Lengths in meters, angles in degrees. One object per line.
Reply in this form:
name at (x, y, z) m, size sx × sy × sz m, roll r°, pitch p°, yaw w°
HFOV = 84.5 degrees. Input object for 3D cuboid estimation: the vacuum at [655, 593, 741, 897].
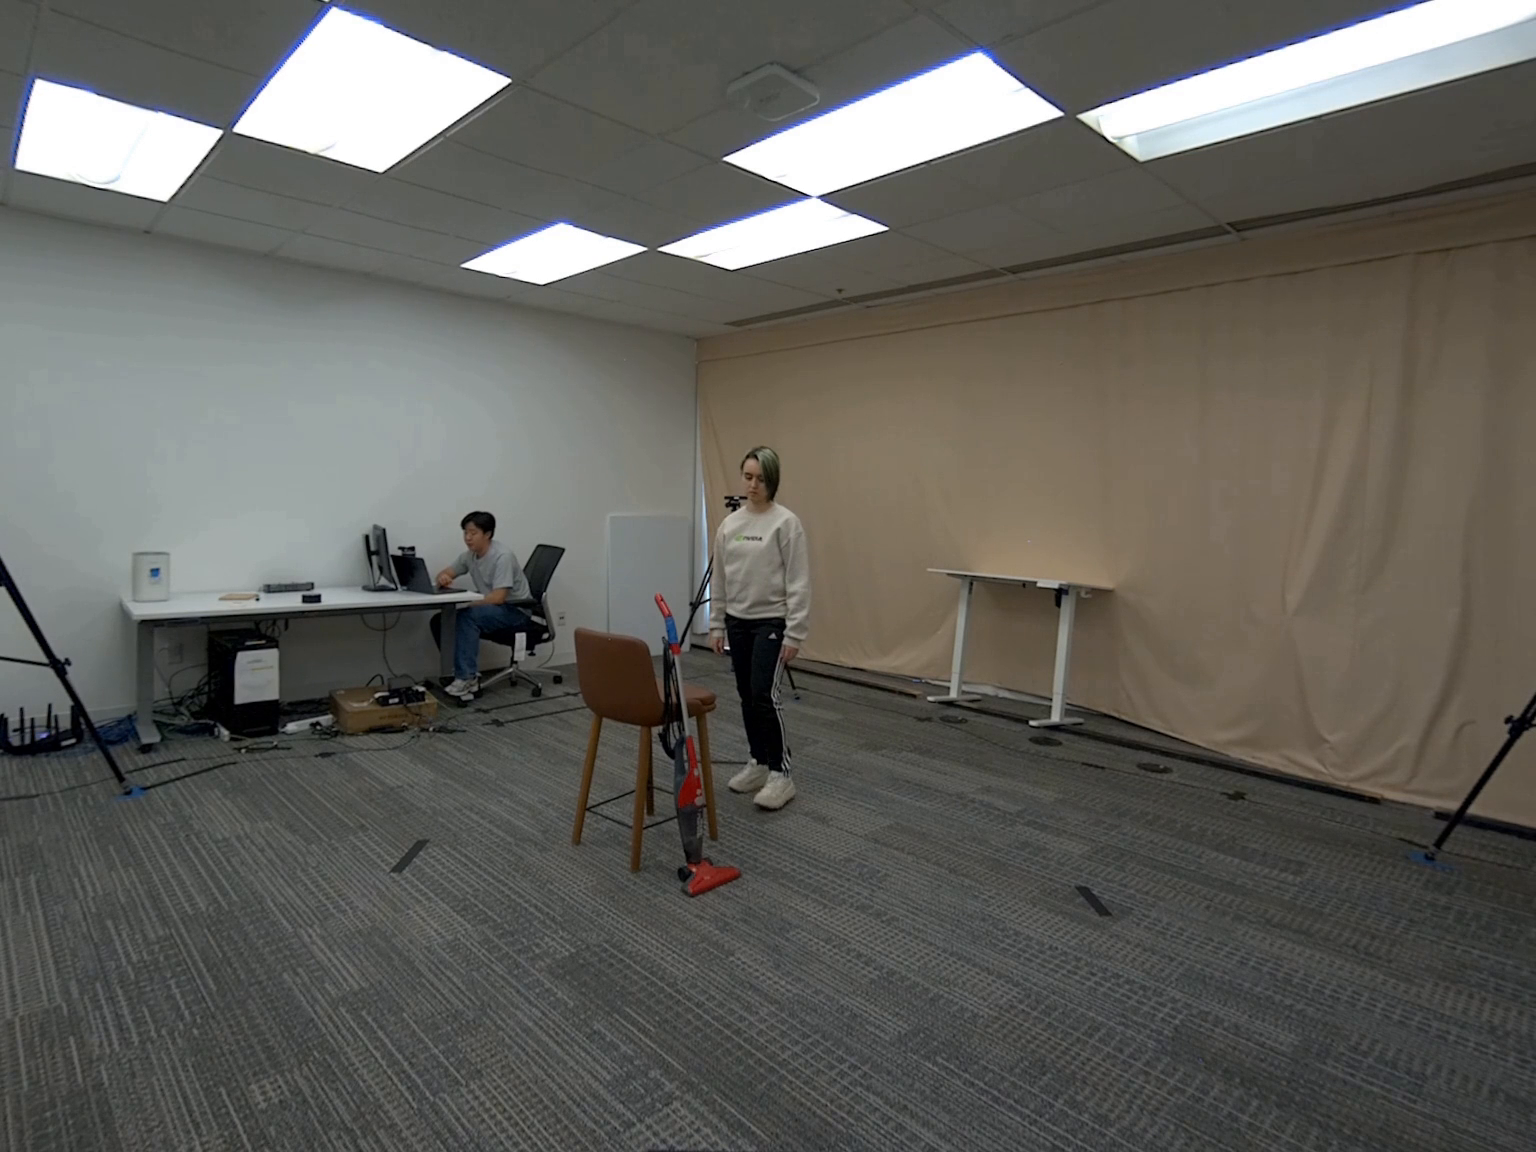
vacuum at (-0.336, 0.587, 3.126) m, size 0.247 × 1.057 × 0.146 m, roll -2°, pitch -11°, yaw -39°
